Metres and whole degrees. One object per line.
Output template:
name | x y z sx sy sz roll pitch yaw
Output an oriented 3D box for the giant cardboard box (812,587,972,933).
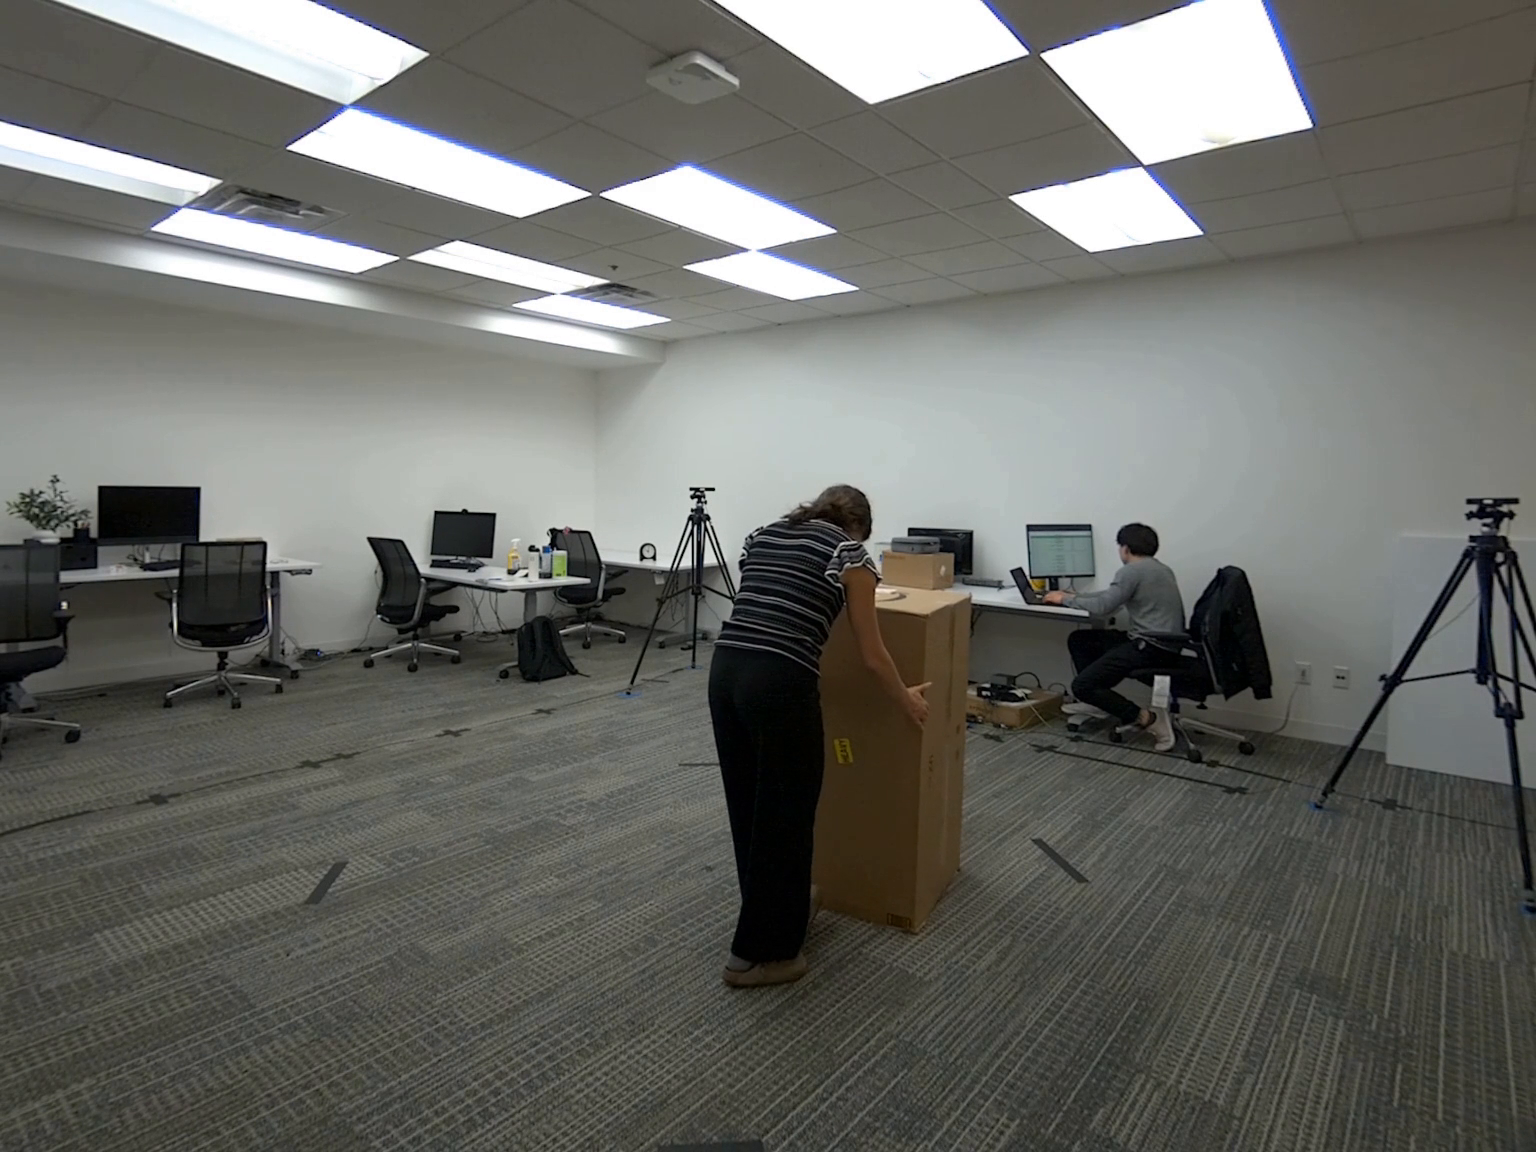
giant cardboard box | 0.409 0.582 2.994 0.438 1.022 0.563 4 5 28
